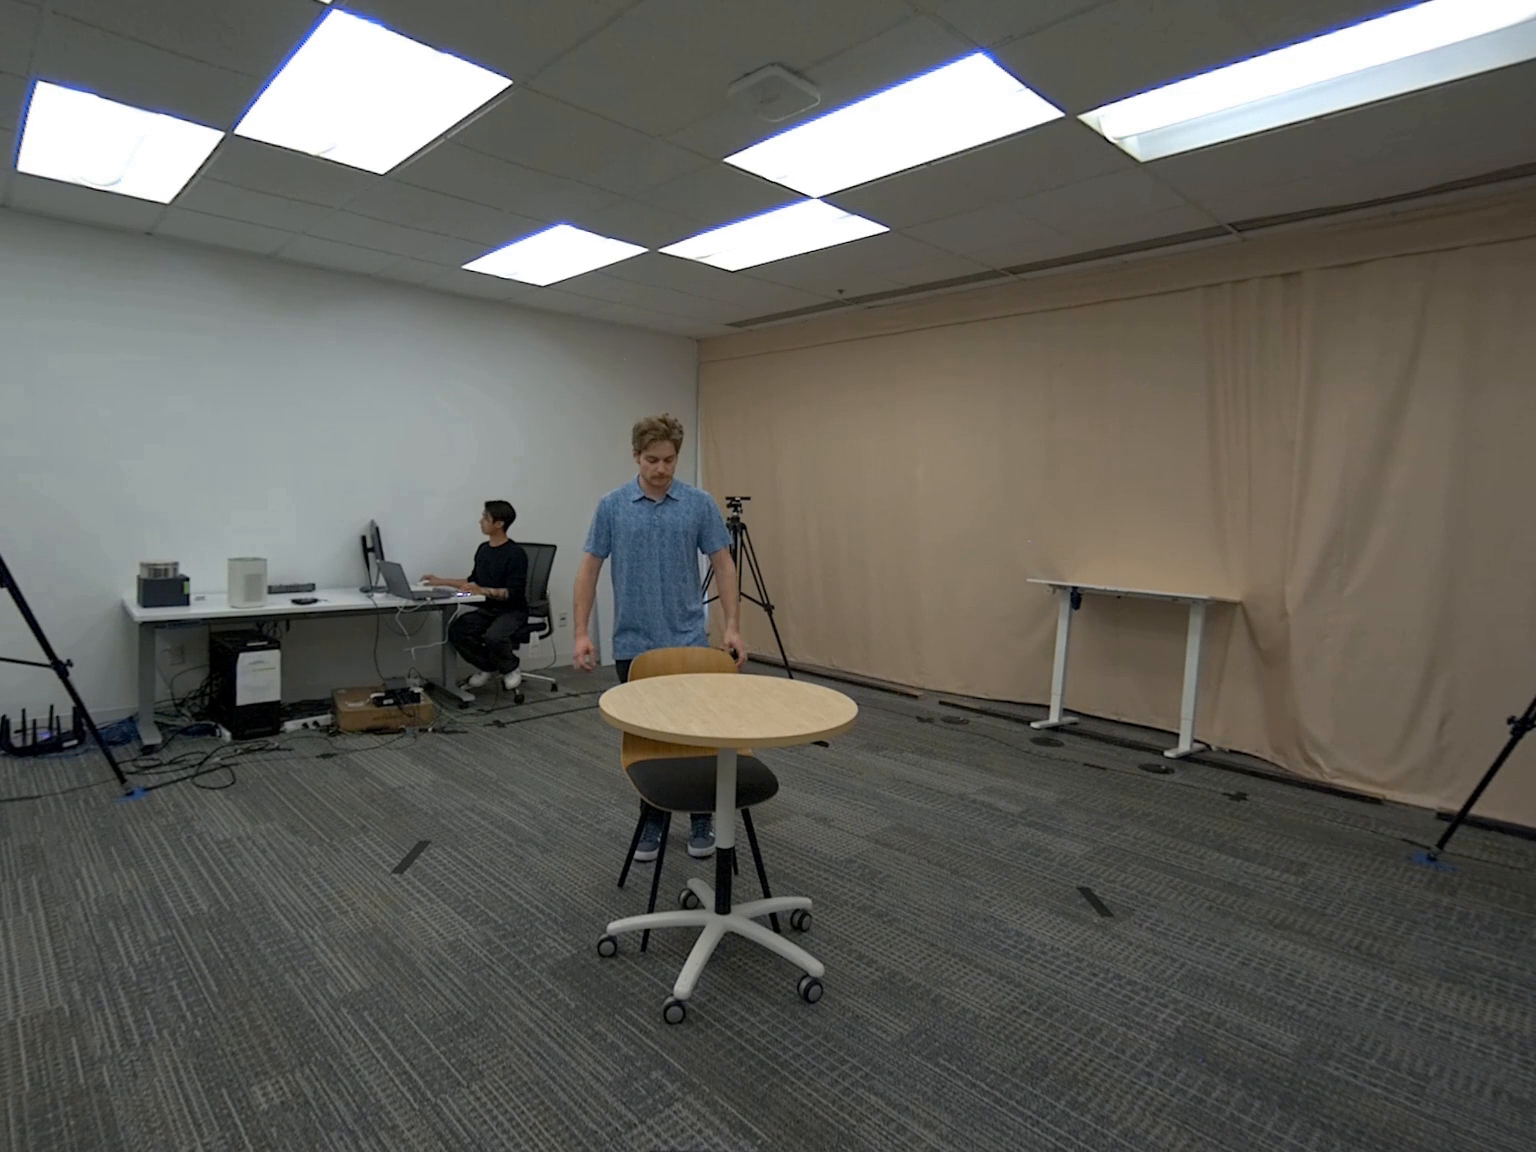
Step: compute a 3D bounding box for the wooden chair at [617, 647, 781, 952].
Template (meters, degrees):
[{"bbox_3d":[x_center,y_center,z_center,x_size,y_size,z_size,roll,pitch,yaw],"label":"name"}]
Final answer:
[{"bbox_3d":[-0.242,0.702,2.814,0.471,0.878,0.530,0,-1,-19],"label":"wooden chair"}]
